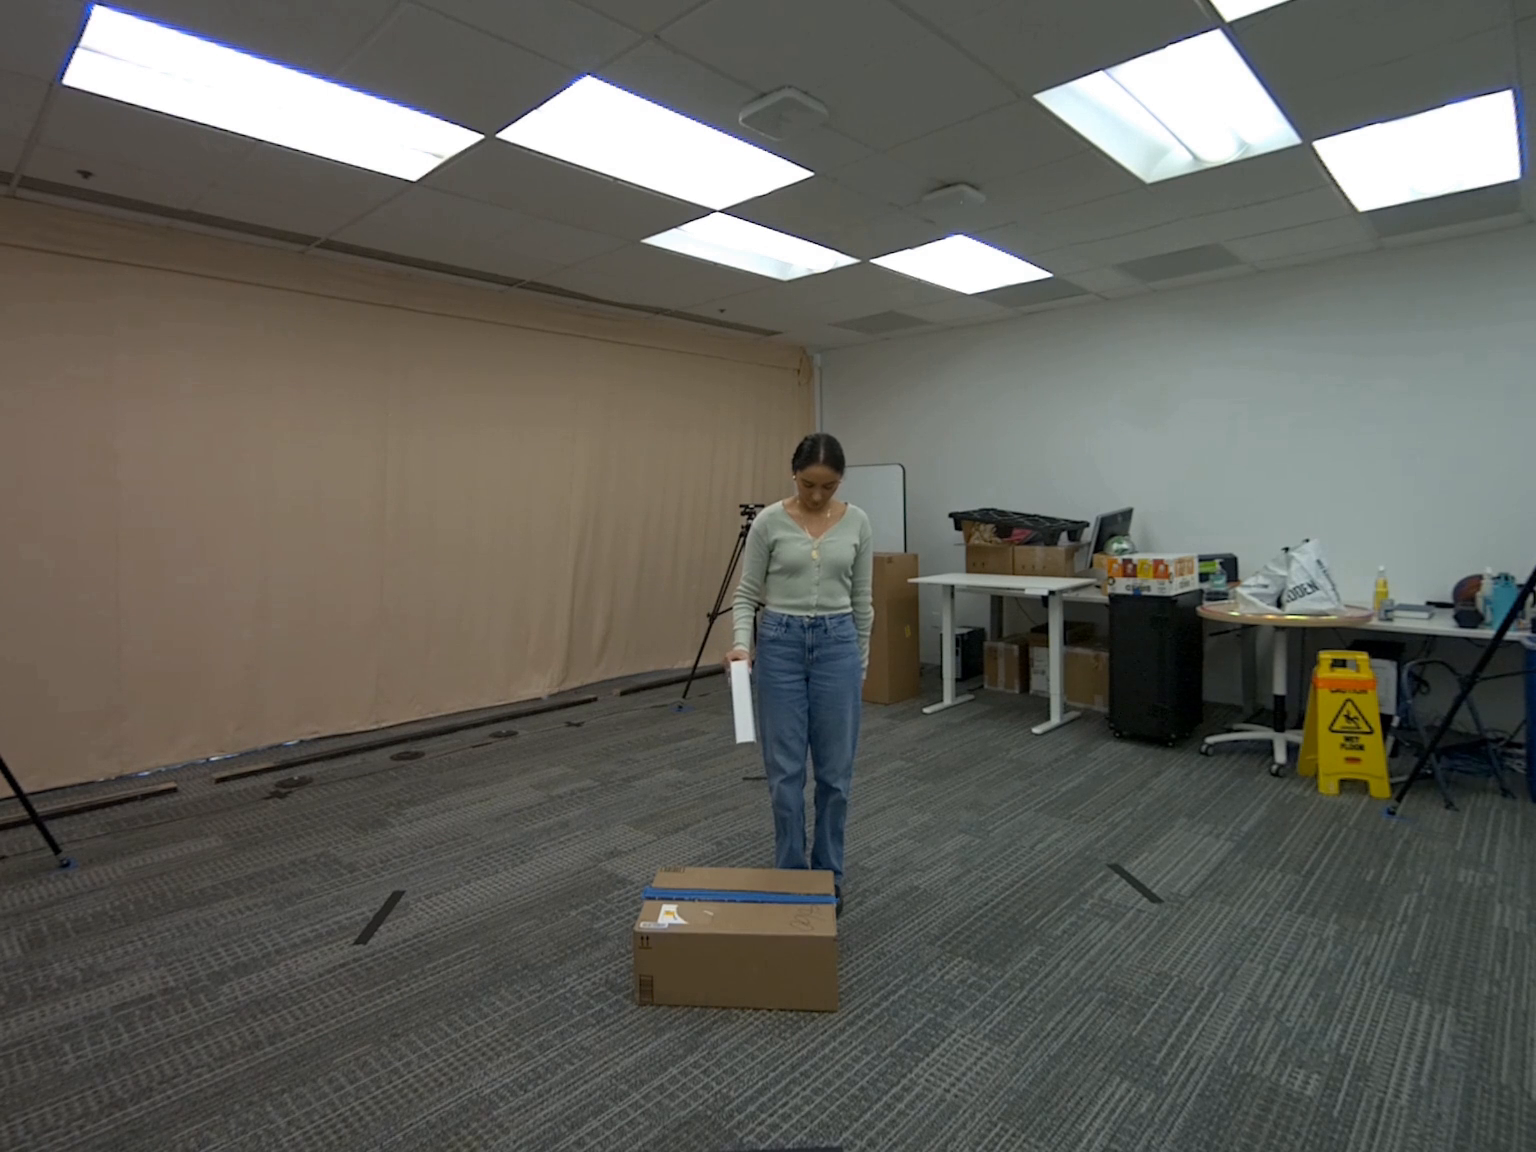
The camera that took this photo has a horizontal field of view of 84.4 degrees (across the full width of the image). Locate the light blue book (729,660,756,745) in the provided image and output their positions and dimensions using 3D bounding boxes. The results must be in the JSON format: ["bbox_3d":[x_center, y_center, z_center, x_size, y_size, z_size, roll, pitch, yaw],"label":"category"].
[{"bbox_3d":[-0.077,0.421,2.728,0.058,0.263,0.191,-2,-13,-8],"label":"light blue book"}]
